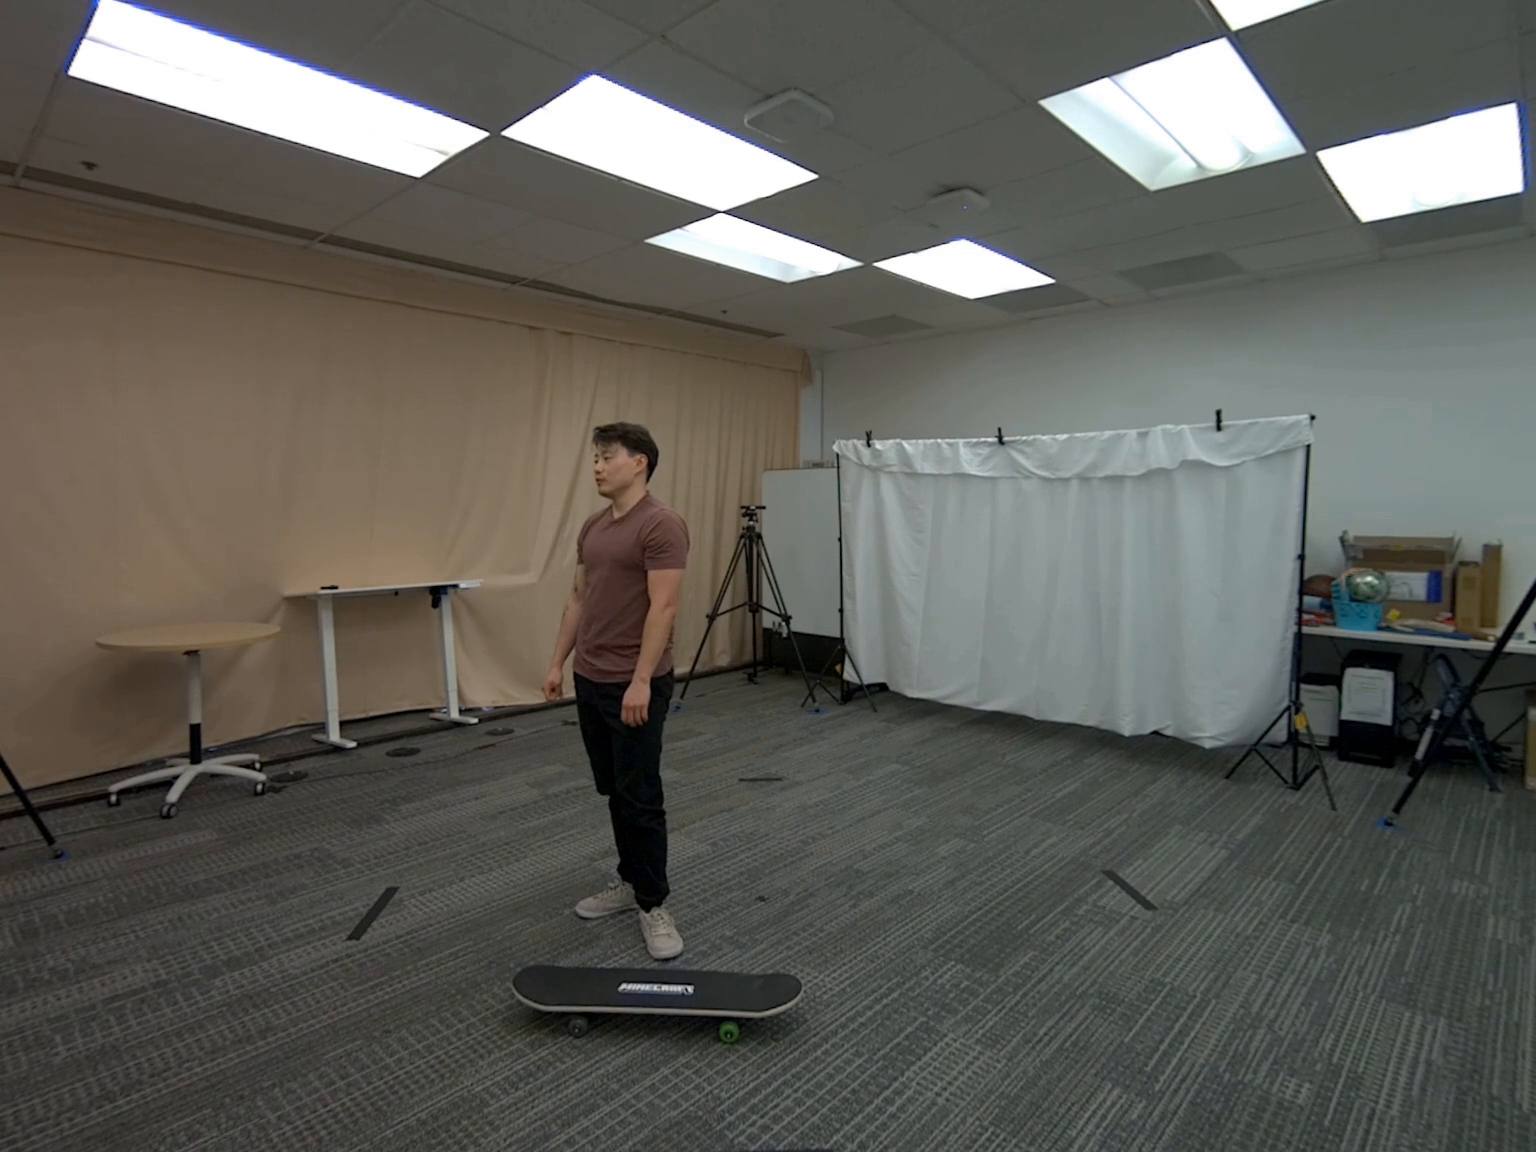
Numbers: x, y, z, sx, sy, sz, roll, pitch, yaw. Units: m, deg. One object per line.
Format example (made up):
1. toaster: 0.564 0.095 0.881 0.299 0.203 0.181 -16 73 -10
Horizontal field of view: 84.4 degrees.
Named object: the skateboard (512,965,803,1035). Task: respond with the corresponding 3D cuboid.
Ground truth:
1. skateboard: -0.295 1.151 2.276 0.788 0.110 0.193 -1 4 3
